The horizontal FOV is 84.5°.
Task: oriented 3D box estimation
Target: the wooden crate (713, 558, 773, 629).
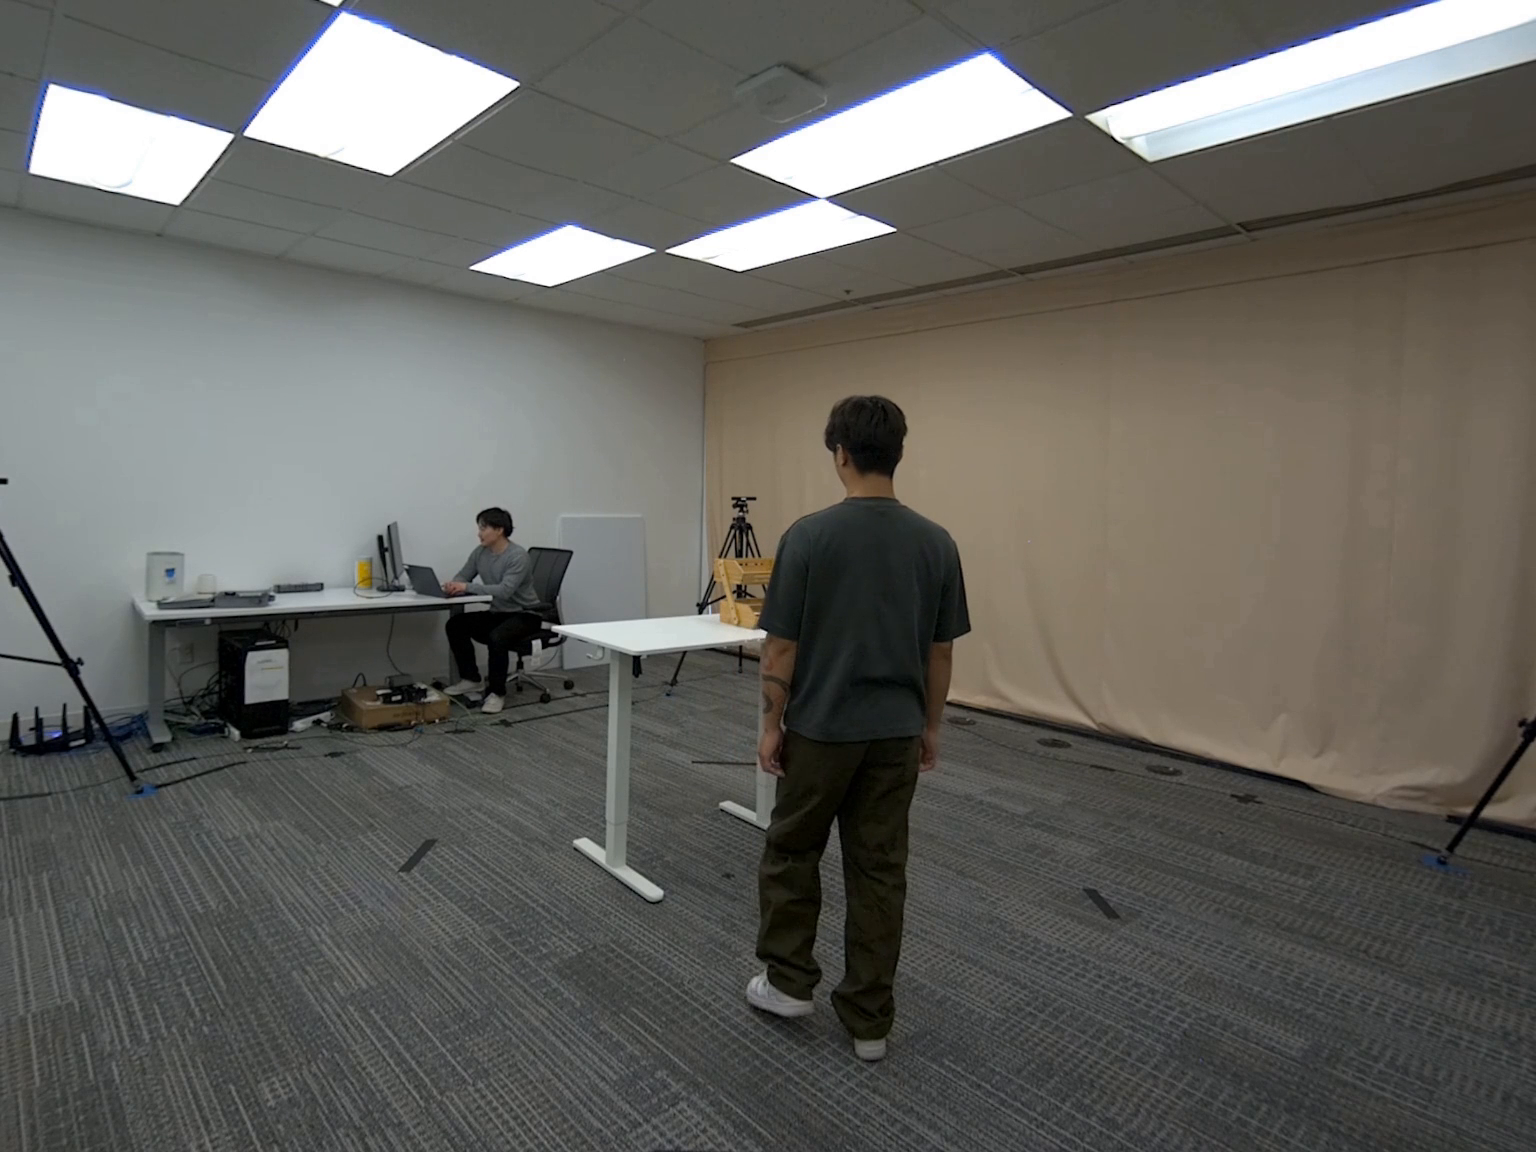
[{"bbox_3d":[-0.028,0.063,3.493,0.317,0.273,0.309,-1,5,-37],"label":"wooden crate"}]
